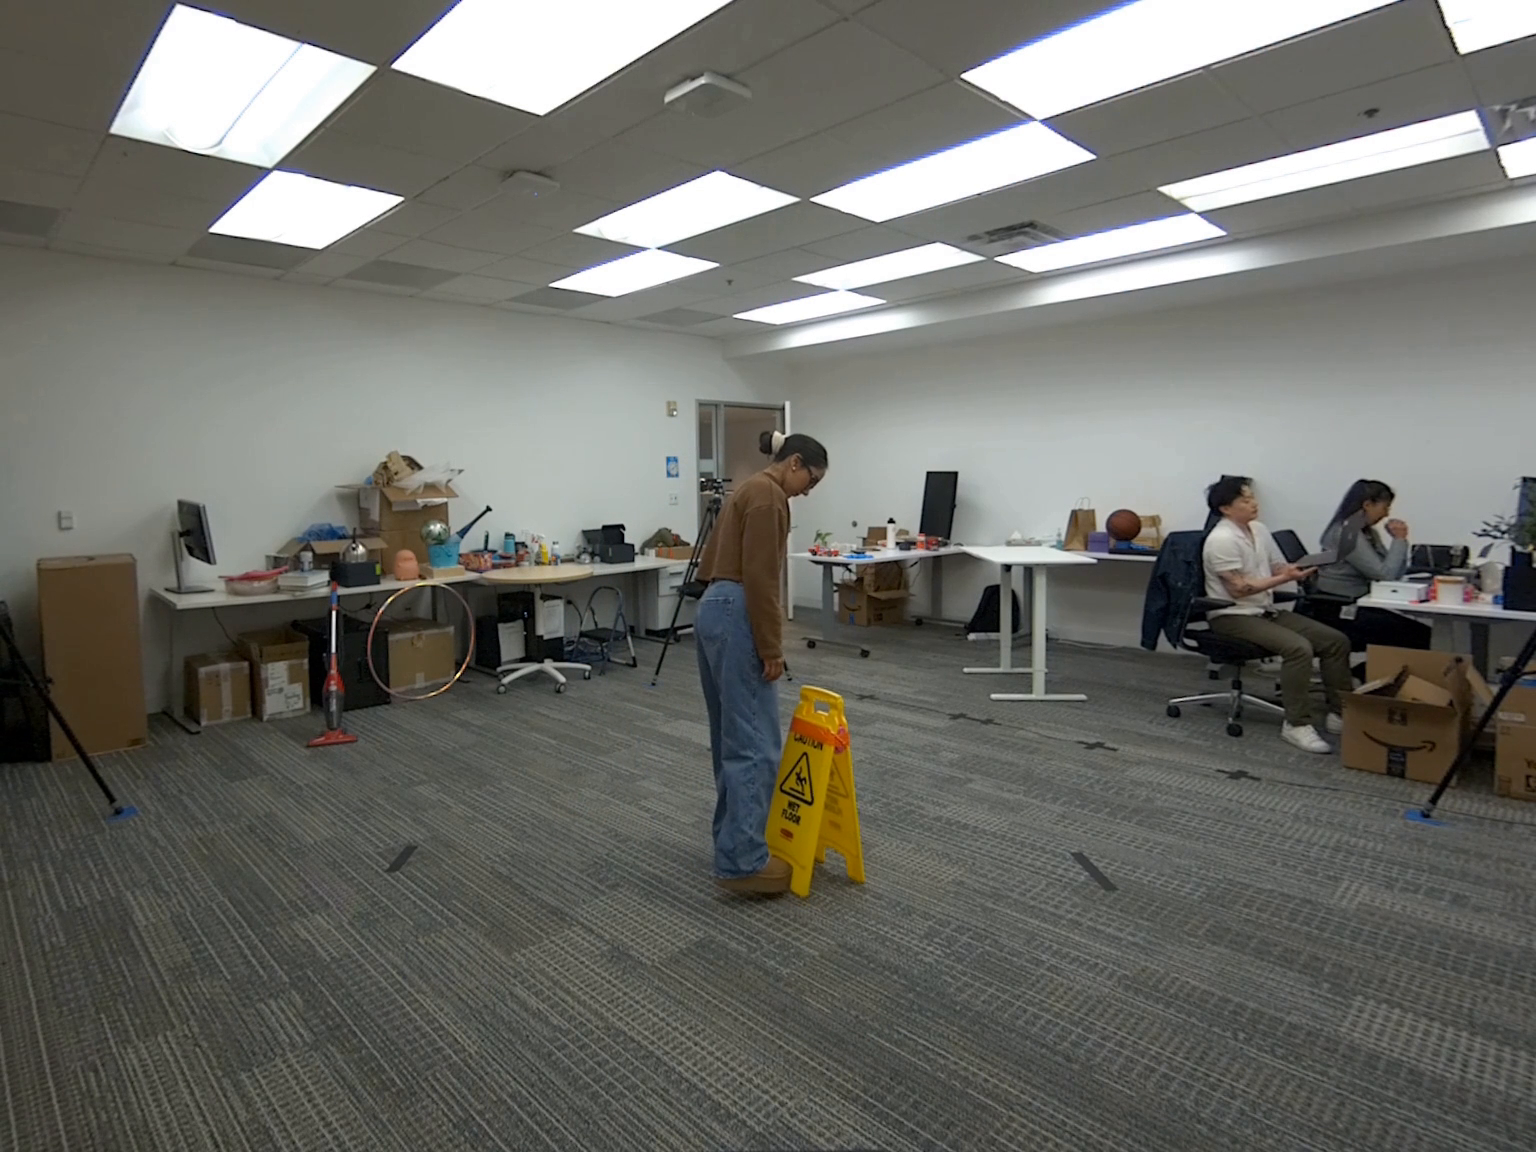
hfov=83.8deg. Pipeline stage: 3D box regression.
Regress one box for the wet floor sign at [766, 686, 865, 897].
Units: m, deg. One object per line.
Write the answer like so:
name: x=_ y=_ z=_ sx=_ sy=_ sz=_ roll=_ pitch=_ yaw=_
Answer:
wet floor sign: x=0.166 y=0.720 z=2.966 sx=0.281 sy=0.646 sz=0.291 roll=4 pitch=1 yaw=-38
